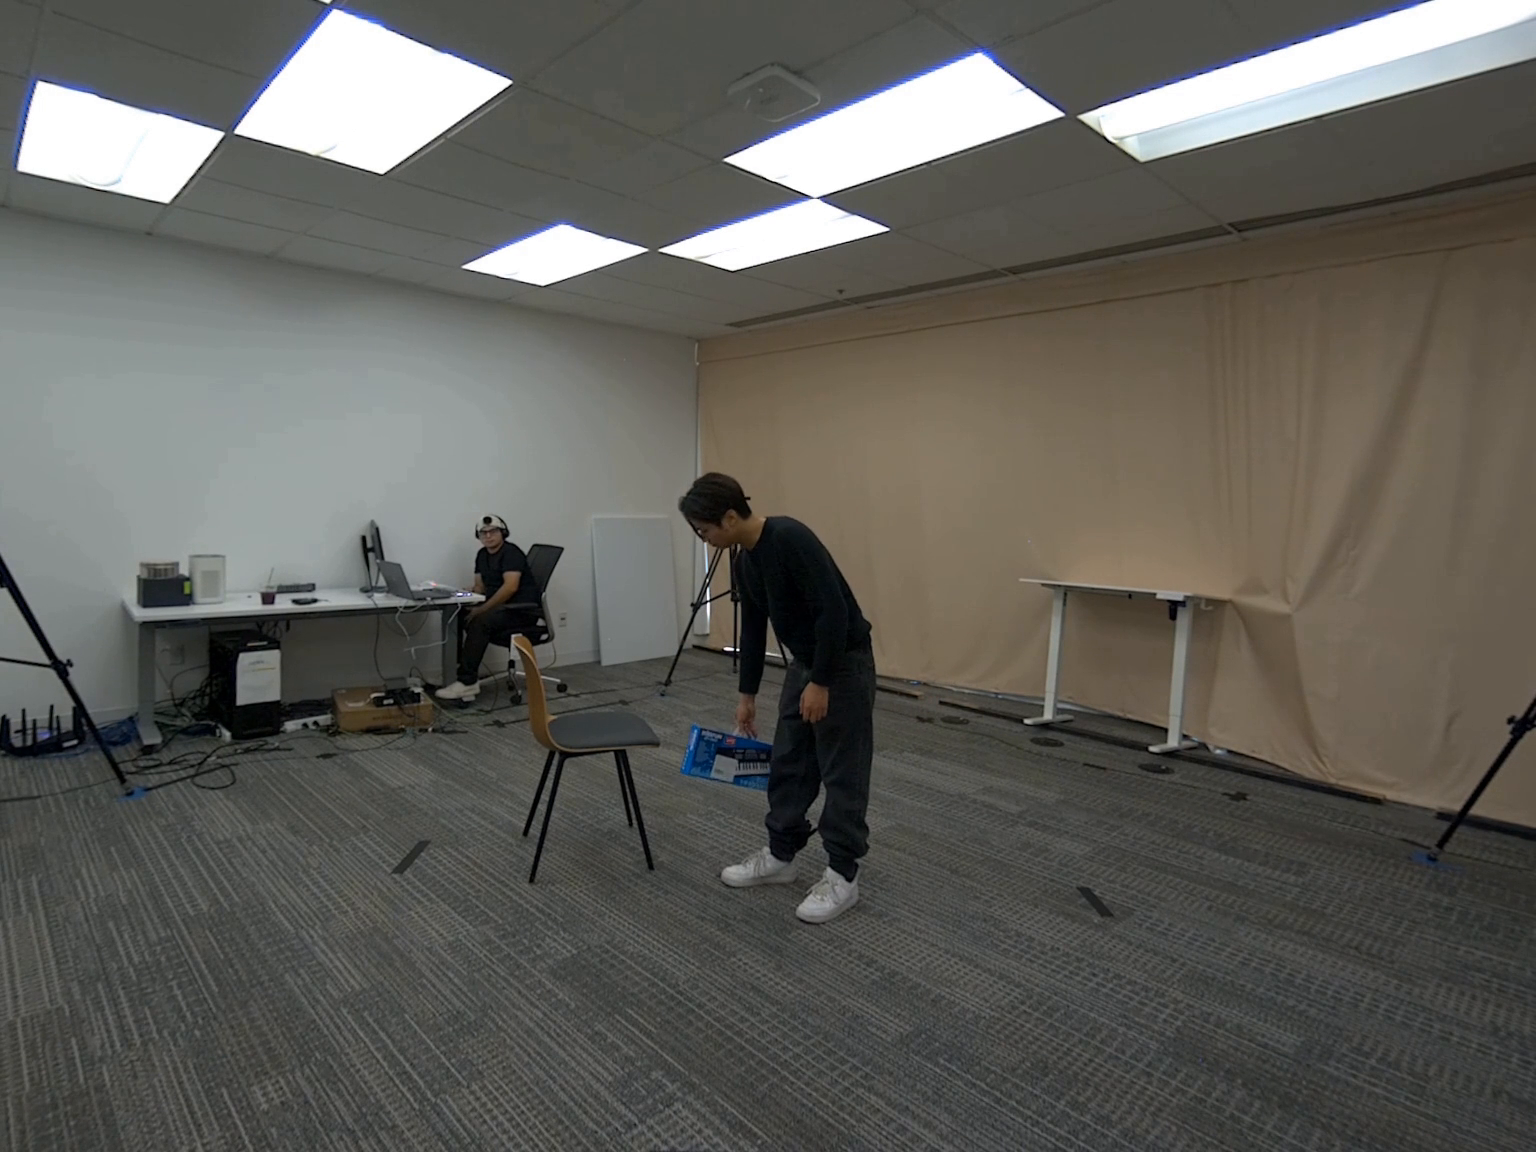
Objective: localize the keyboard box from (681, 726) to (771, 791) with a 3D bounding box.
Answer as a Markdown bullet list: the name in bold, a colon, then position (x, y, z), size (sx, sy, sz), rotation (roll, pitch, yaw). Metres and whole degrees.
- **keyboard box**: position (-0.119, 0.682, 3.116), size (0.425, 0.177, 0.060), rotation (22, -13, -32)
